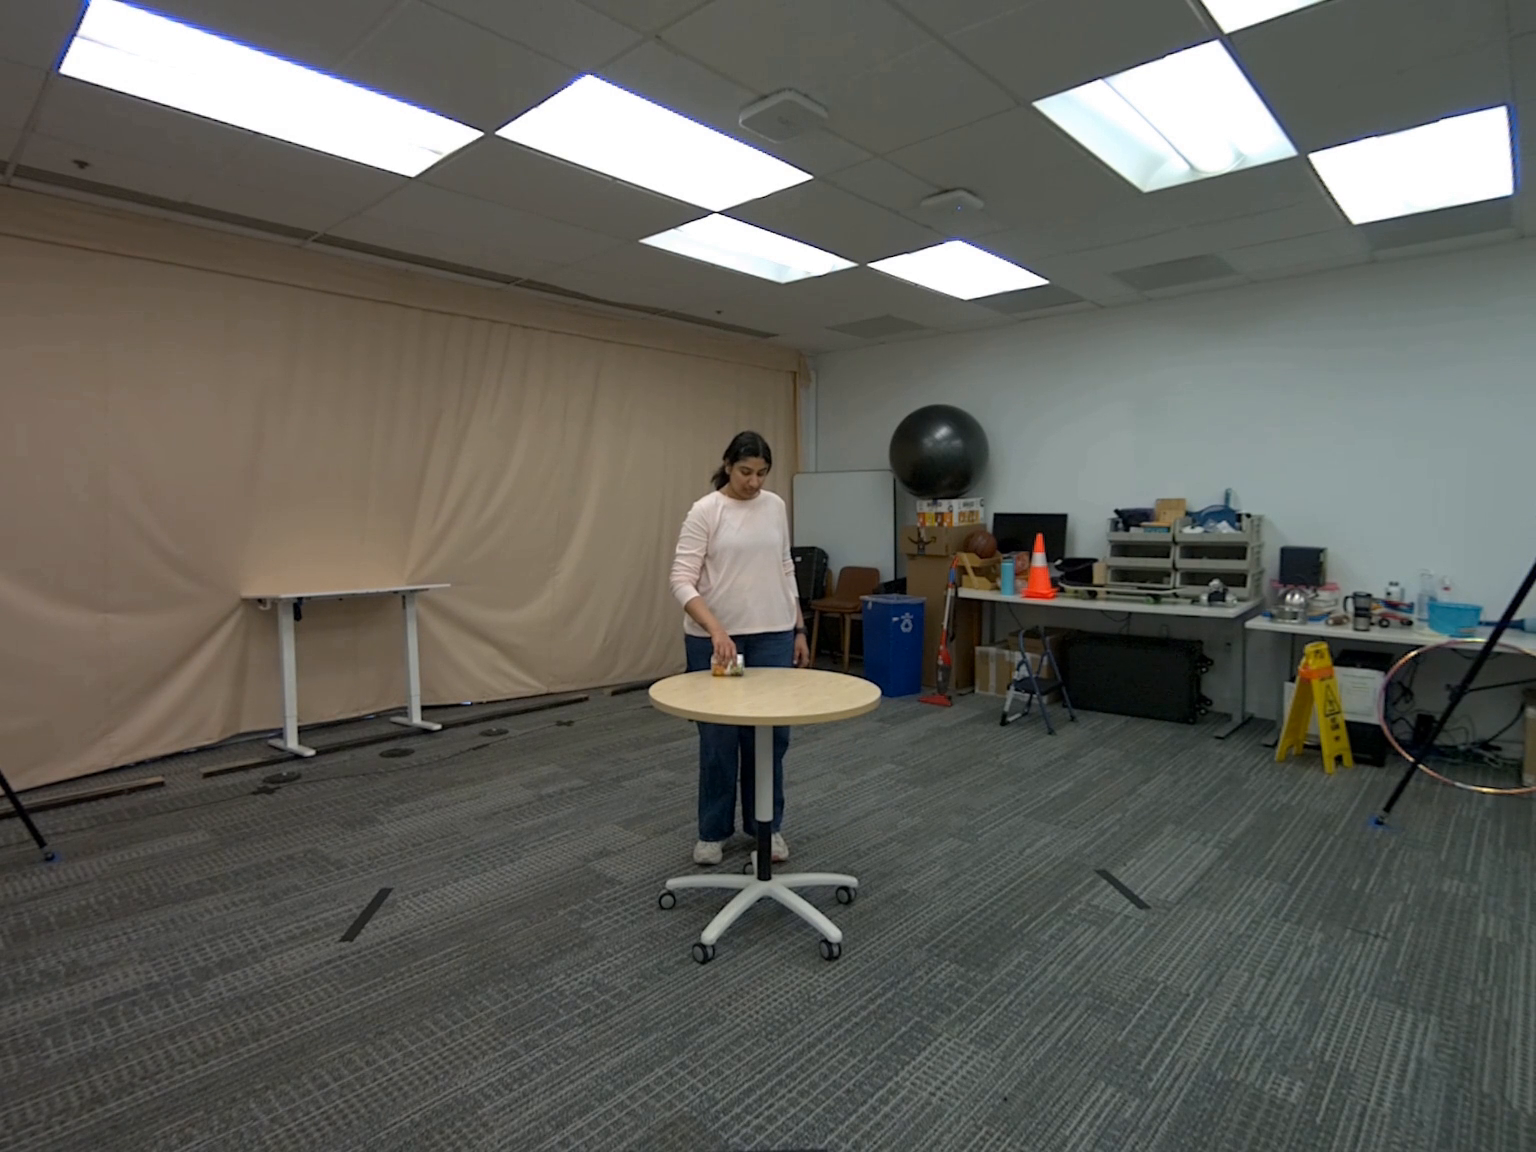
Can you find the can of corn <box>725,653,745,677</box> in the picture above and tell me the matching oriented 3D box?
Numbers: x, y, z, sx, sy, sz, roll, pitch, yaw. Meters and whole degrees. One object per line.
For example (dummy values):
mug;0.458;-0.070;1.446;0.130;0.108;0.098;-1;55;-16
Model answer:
can of corn;-0.136;0.319;3.031;0.111;0.074;0.074;-2;4;0
